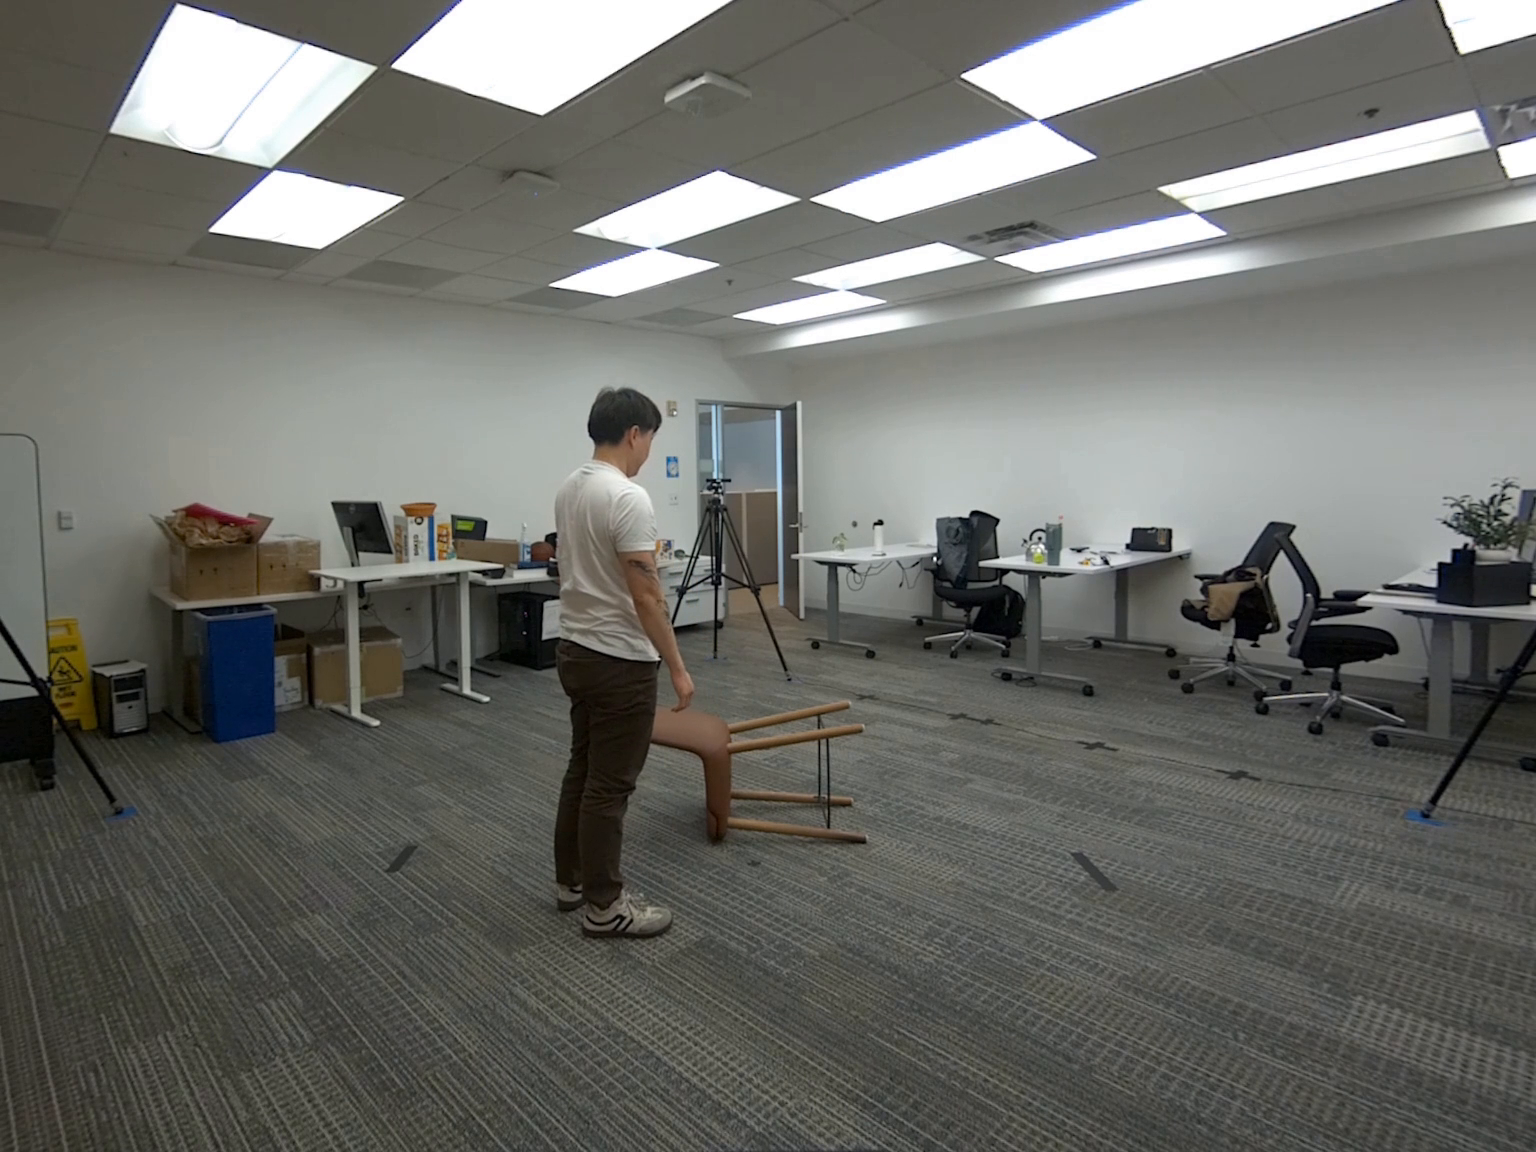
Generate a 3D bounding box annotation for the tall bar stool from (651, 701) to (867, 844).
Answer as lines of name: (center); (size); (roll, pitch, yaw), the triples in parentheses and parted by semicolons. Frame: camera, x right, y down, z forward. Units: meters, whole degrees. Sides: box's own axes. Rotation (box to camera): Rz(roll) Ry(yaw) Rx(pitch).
tall bar stool: (-0.076, 0.775, 3.447); (0.889, 0.466, 0.459); (0, 5, -1)
